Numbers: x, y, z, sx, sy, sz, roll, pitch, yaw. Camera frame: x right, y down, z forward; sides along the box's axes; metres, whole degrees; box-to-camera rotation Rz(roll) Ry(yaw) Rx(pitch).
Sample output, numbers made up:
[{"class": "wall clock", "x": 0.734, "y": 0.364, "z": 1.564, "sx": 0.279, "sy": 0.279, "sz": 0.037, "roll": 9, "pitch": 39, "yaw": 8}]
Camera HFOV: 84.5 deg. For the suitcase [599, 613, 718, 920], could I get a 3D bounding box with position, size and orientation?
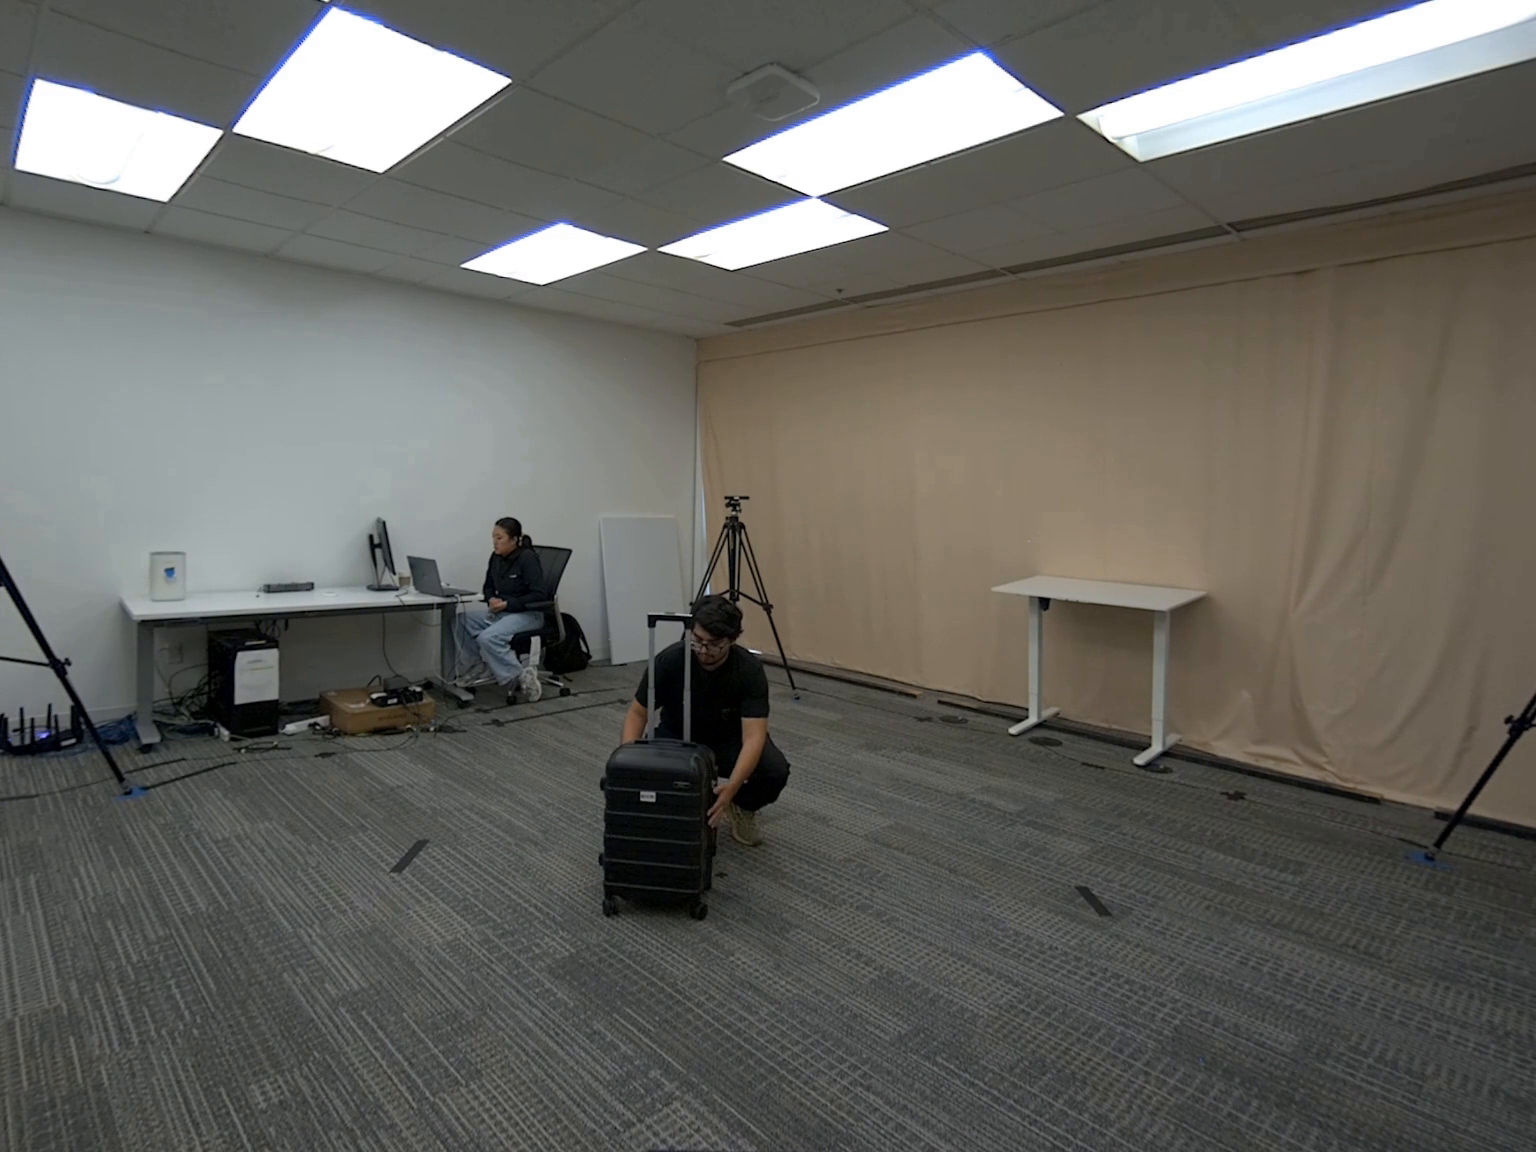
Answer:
[{"class": "suitcase", "x": -0.370, "y": 0.648, "z": 2.856, "sx": 0.386, "sy": 0.974, "sz": 0.257, "roll": 2, "pitch": 6, "yaw": 5}]
